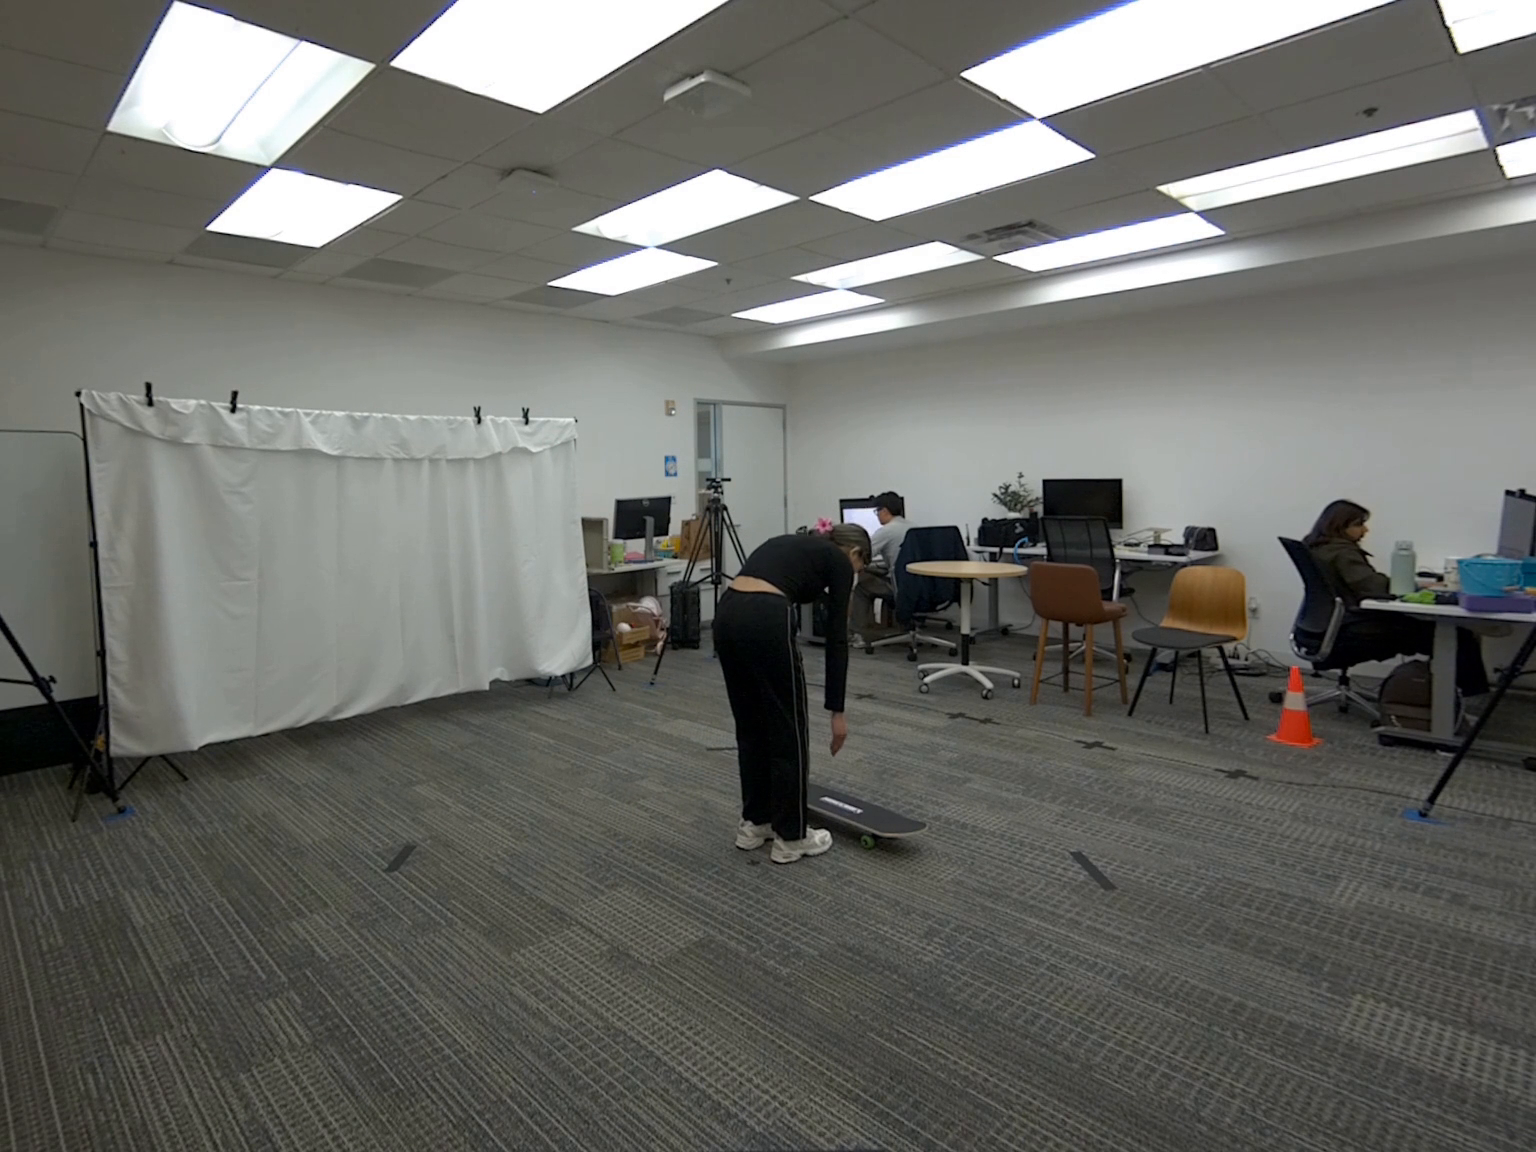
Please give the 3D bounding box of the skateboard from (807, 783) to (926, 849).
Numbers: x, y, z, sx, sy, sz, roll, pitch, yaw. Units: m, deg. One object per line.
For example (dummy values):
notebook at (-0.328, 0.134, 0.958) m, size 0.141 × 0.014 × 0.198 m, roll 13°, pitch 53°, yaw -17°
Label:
skateboard at (0.308, 0.952, 3.414) m, size 0.188 × 0.110 × 0.810 m, roll -5°, pitch 7°, yaw -41°
